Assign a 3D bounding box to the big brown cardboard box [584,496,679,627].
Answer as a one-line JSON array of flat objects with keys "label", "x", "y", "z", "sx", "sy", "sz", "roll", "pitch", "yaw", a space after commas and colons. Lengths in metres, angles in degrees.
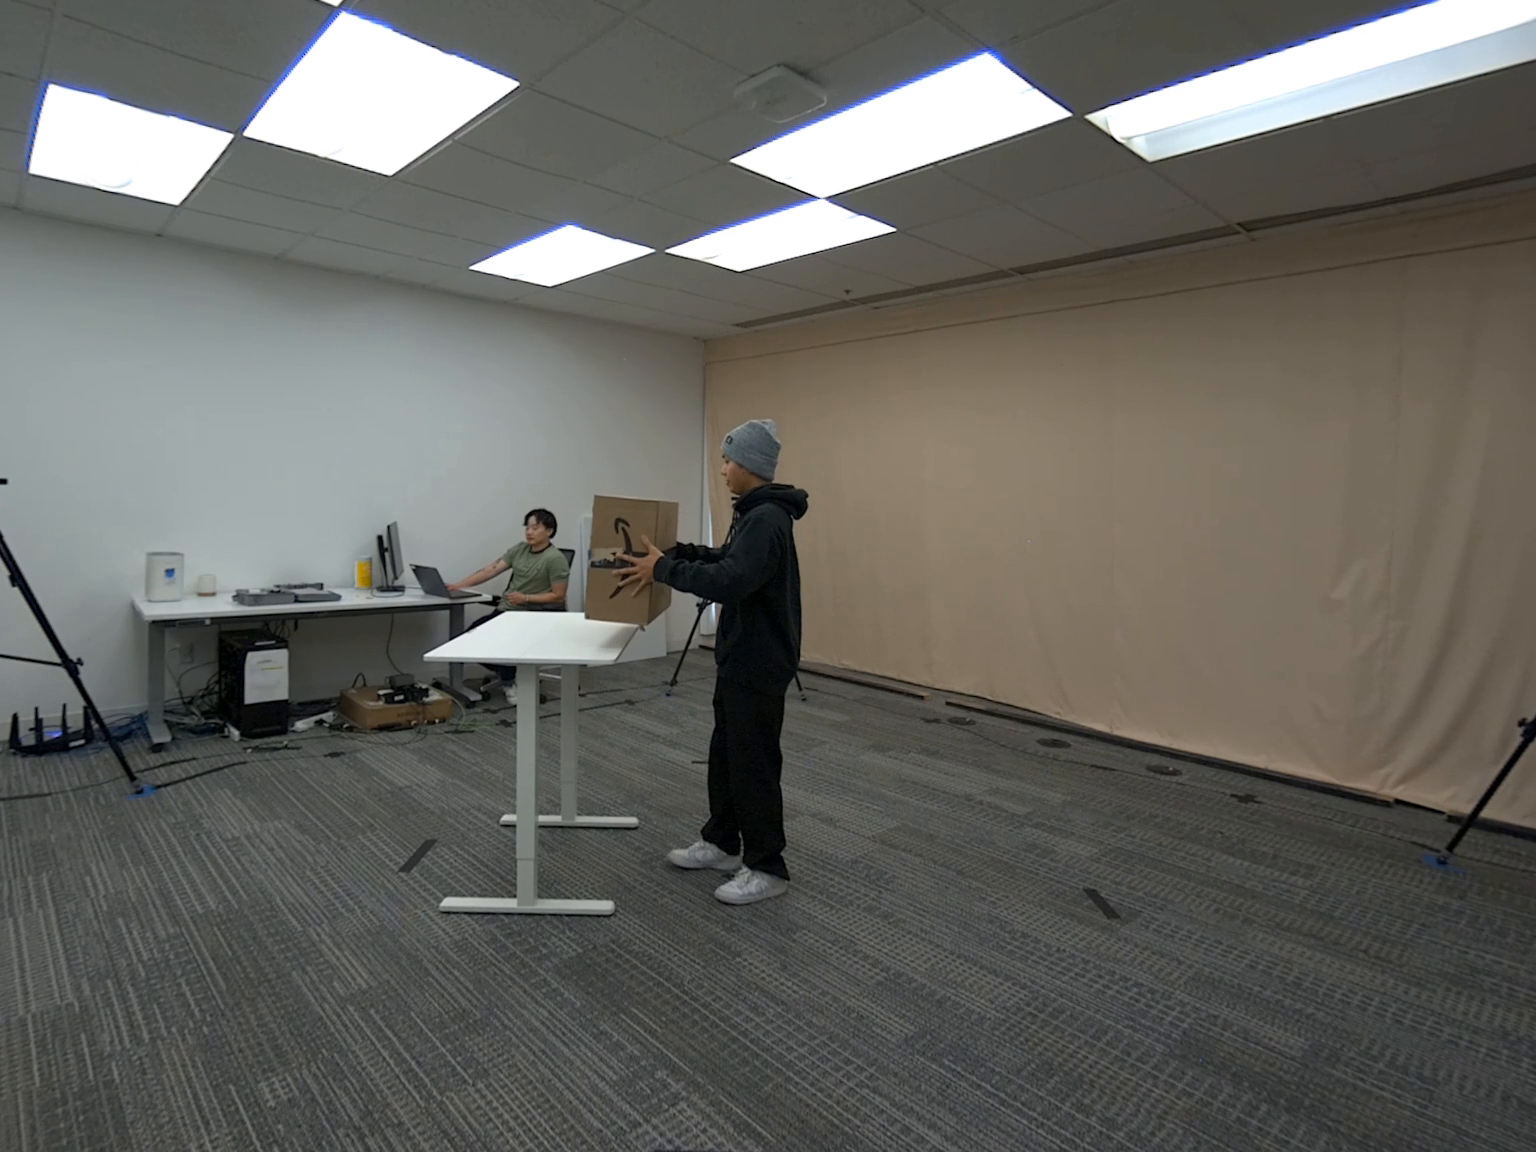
[{"label": "big brown cardboard box", "x": -0.481, "y": -0.074, "z": 3.041, "sx": 0.233, "sy": 0.417, "sz": 0.589, "roll": 5, "pitch": 3, "yaw": 0}]
